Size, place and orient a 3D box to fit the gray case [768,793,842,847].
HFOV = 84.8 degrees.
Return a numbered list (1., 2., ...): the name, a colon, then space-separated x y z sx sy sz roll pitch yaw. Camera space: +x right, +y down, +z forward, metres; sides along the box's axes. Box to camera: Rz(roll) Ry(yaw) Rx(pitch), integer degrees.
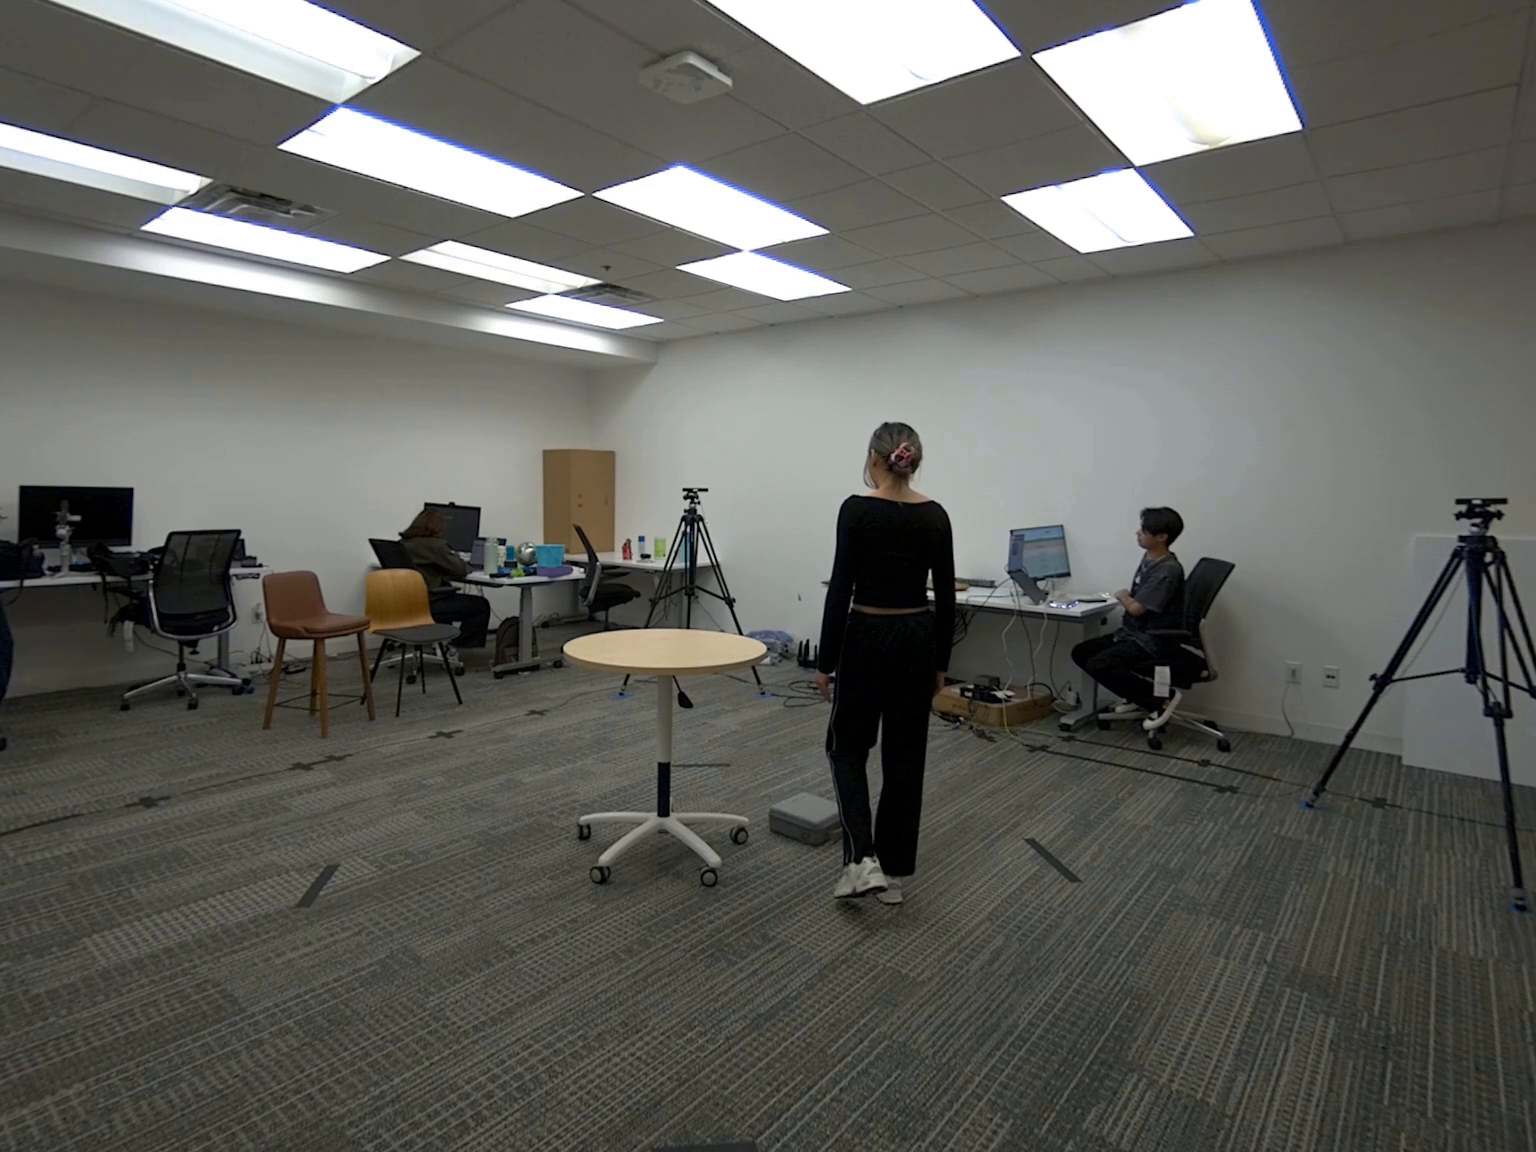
1. gray case: 0.161 0.983 3.488 0.269 0.104 0.249 7 7 39
